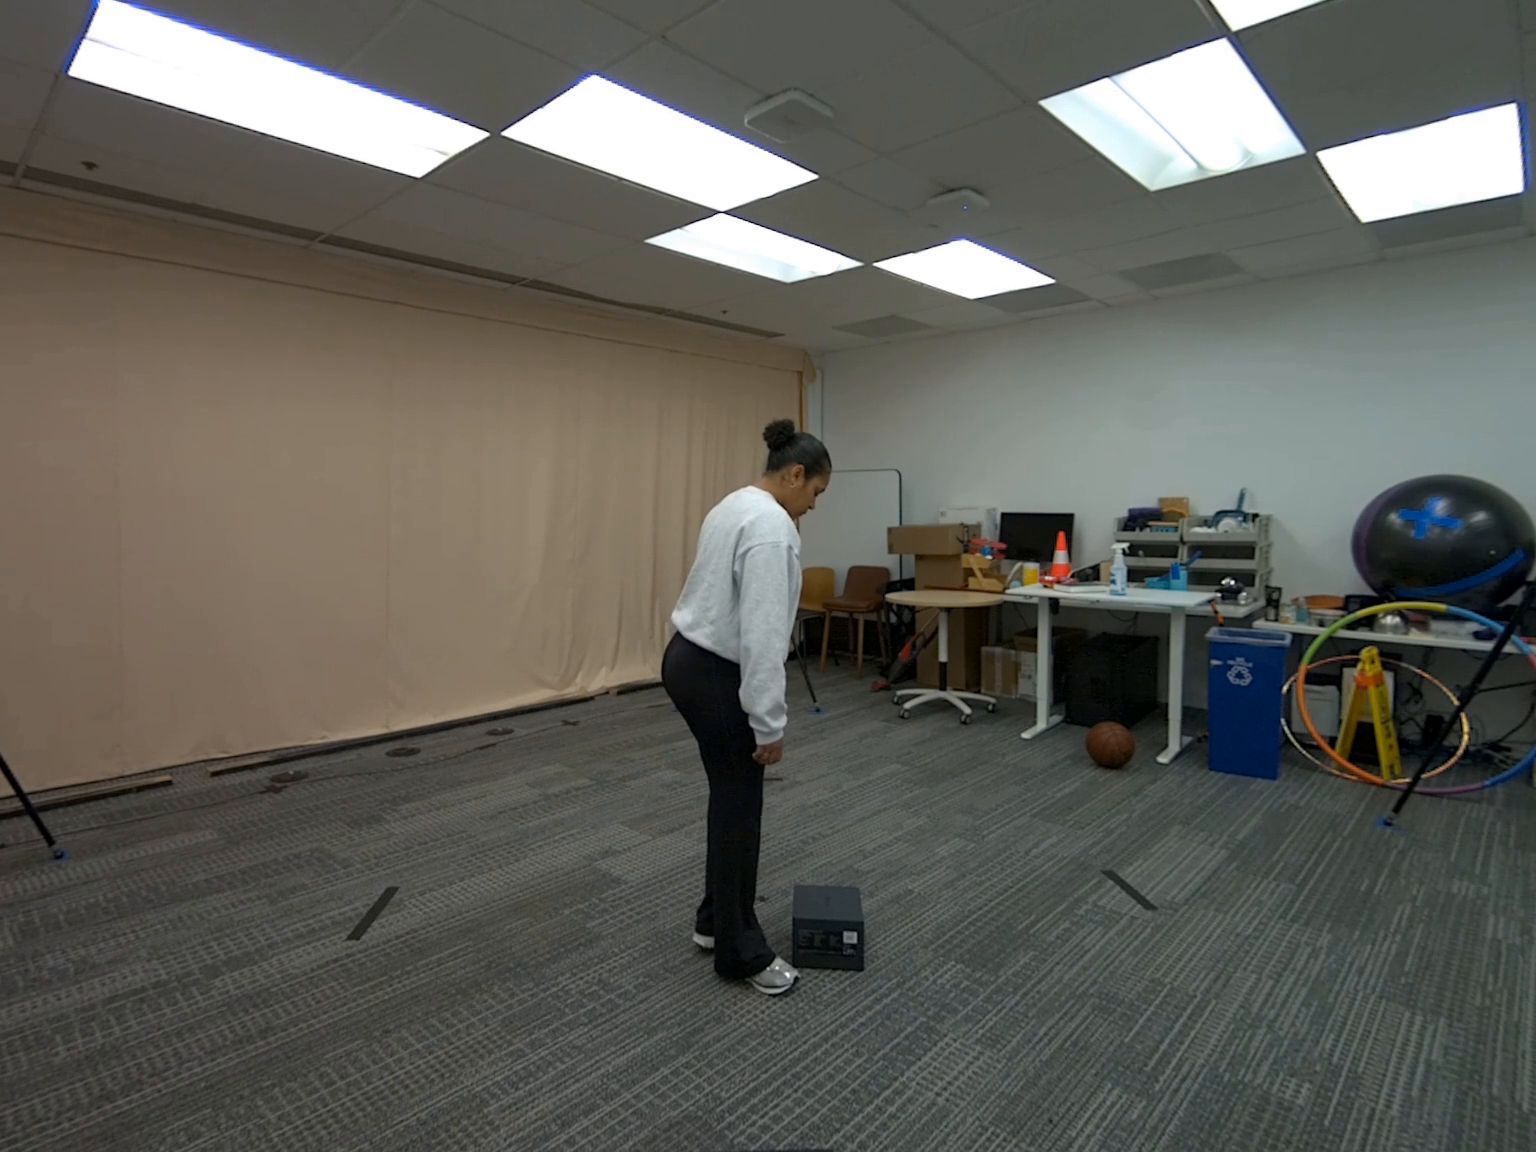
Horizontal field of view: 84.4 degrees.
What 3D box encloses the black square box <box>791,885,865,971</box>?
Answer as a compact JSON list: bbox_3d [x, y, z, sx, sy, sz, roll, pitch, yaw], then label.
[{"bbox_3d":[0.190,1.091,2.619,0.218,0.155,0.227,0,4,4],"label":"black square box"}]
